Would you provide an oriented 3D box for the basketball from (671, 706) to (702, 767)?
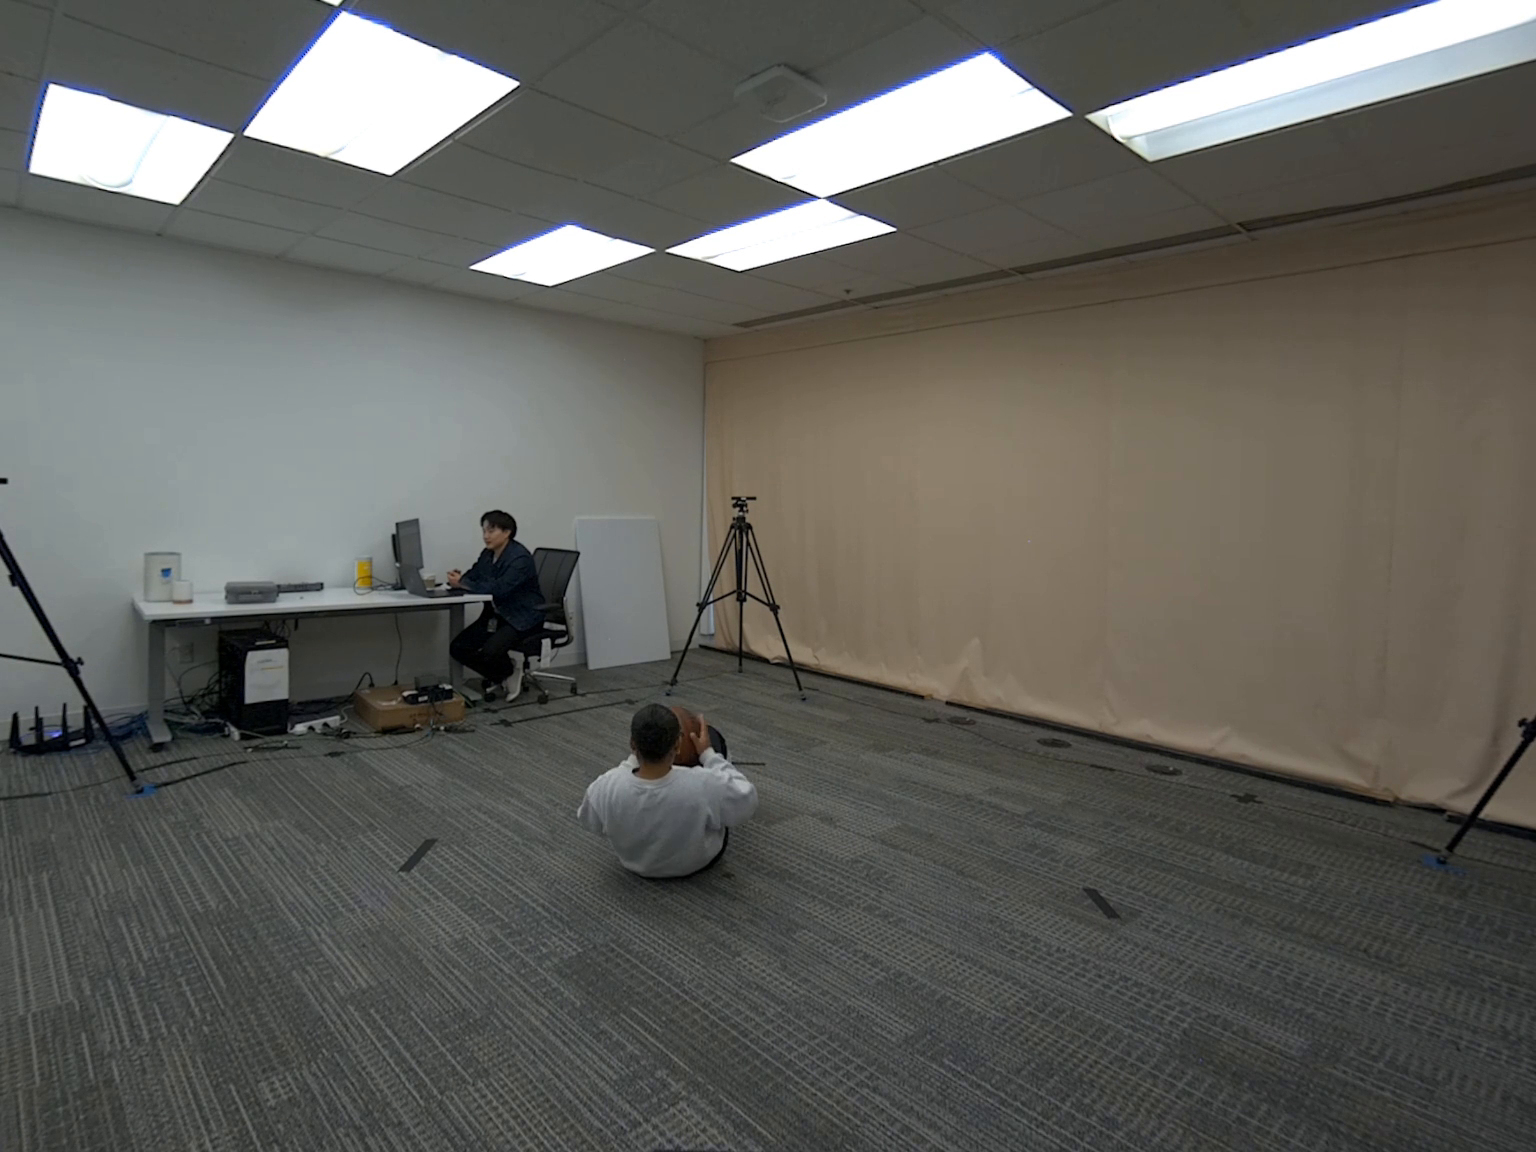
[{"bbox_3d":[-0.368,0.645,3.240,0.236,0.235,0.237,1,4,-1],"label":"basketball"}]
